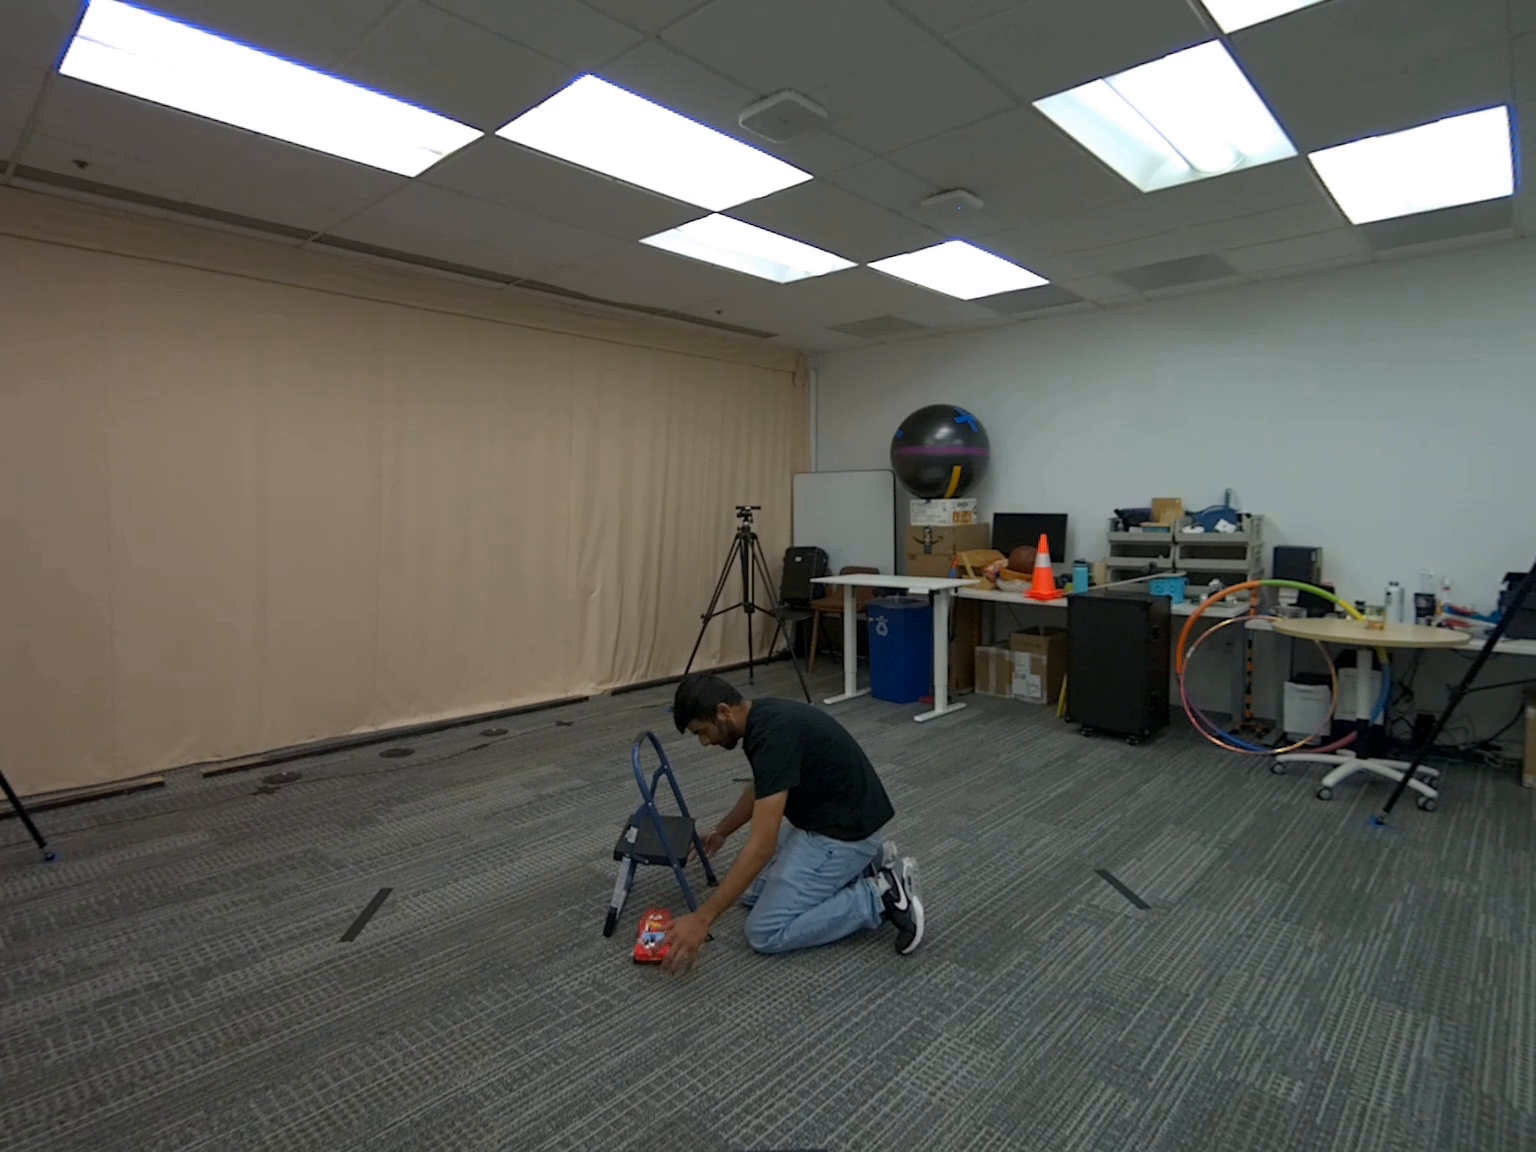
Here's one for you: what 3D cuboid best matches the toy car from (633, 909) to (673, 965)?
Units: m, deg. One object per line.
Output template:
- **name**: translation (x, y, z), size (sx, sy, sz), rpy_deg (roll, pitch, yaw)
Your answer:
- **toy car**: translation (-0.360, 1.146, 2.695), size (0.131, 0.082, 0.256), rpy_deg (1, 16, 1)
